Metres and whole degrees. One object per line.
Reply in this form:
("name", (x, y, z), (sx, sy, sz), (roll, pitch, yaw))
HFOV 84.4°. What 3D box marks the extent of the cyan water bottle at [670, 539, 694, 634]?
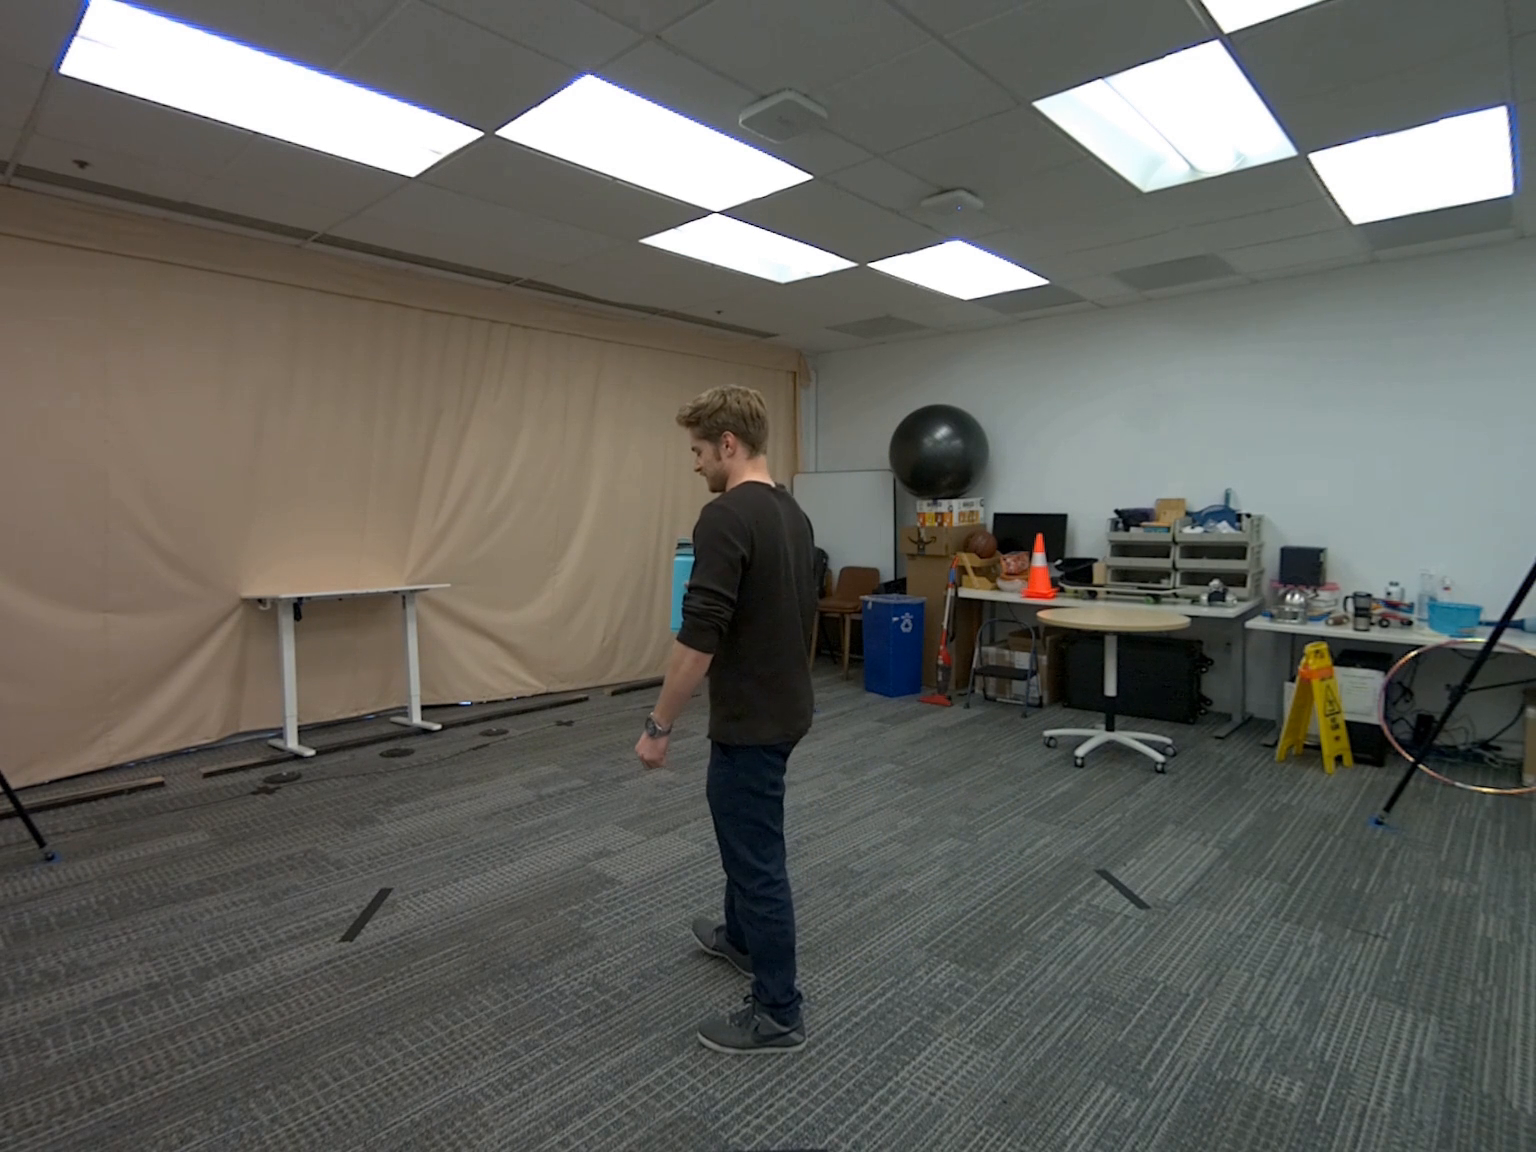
("cyan water bottle", (-0.244, 0.026, 2.534), (0.092, 0.284, 0.092), (4, -6, -2))
